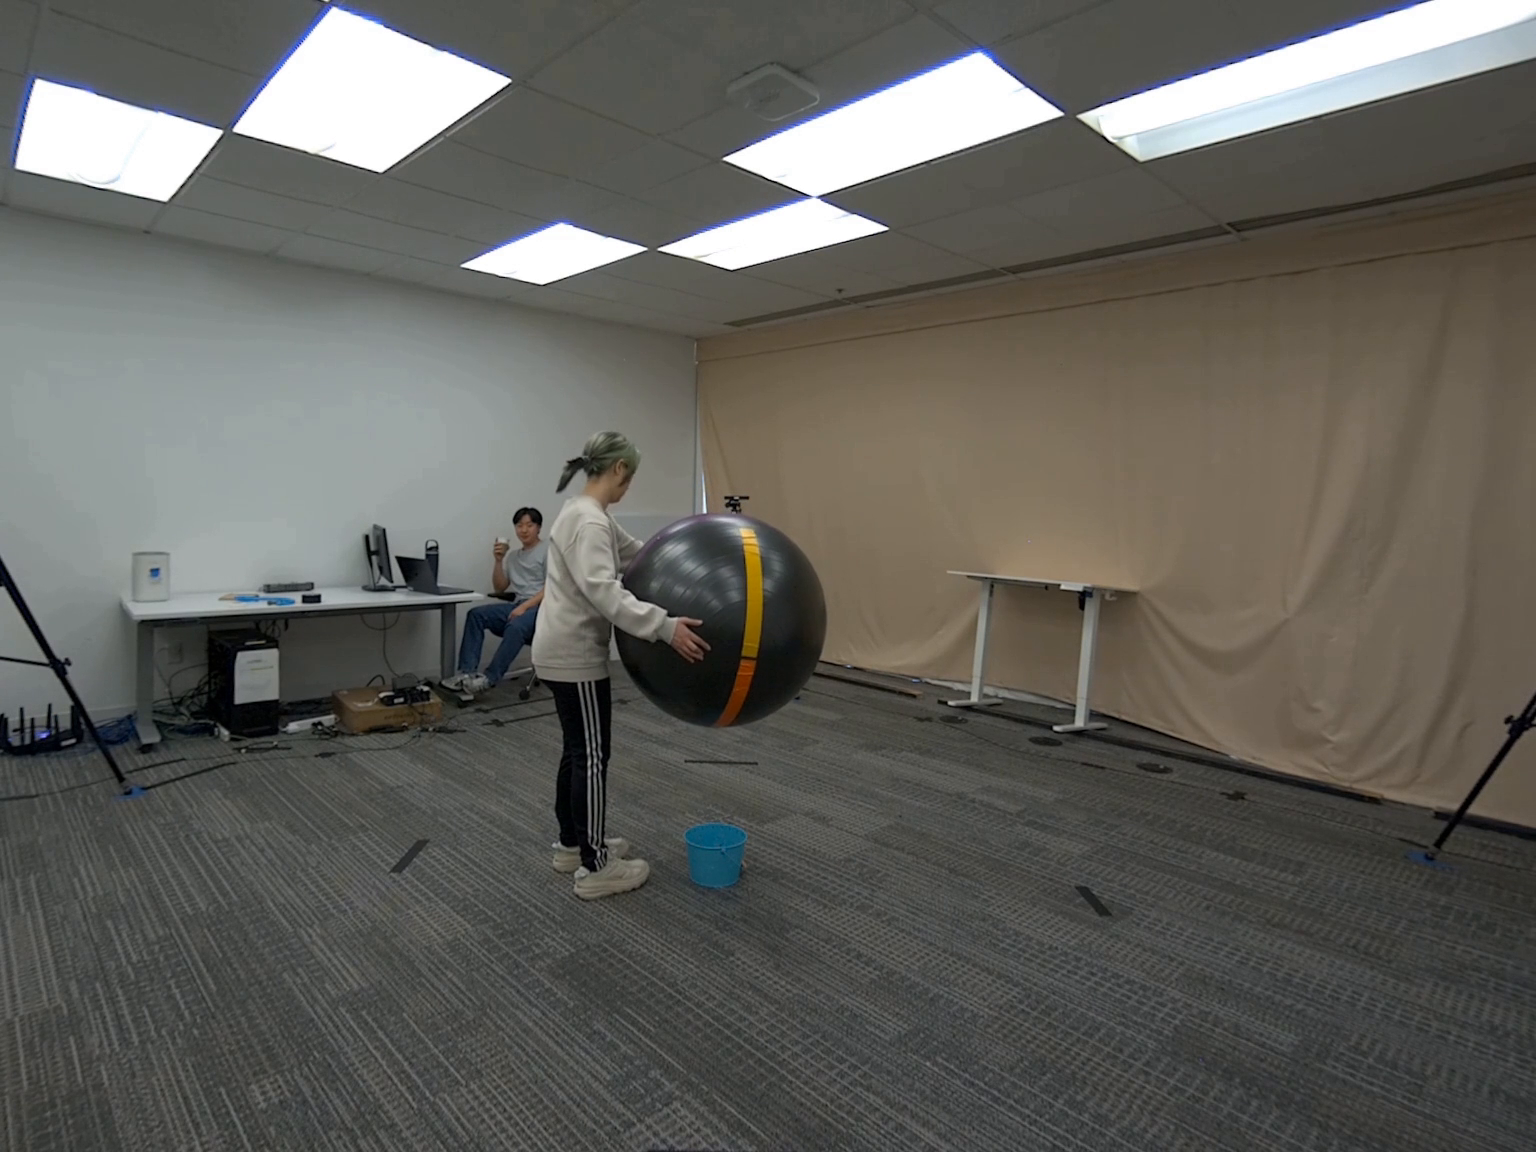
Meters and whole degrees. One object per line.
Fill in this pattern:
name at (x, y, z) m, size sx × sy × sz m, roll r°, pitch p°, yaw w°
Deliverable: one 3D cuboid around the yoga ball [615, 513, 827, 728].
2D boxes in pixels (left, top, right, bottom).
yoga ball at (-0.176, 0.161, 3.004) m, size 0.757 × 0.756 × 0.761 m, roll 1°, pitch 4°, yaw -1°
